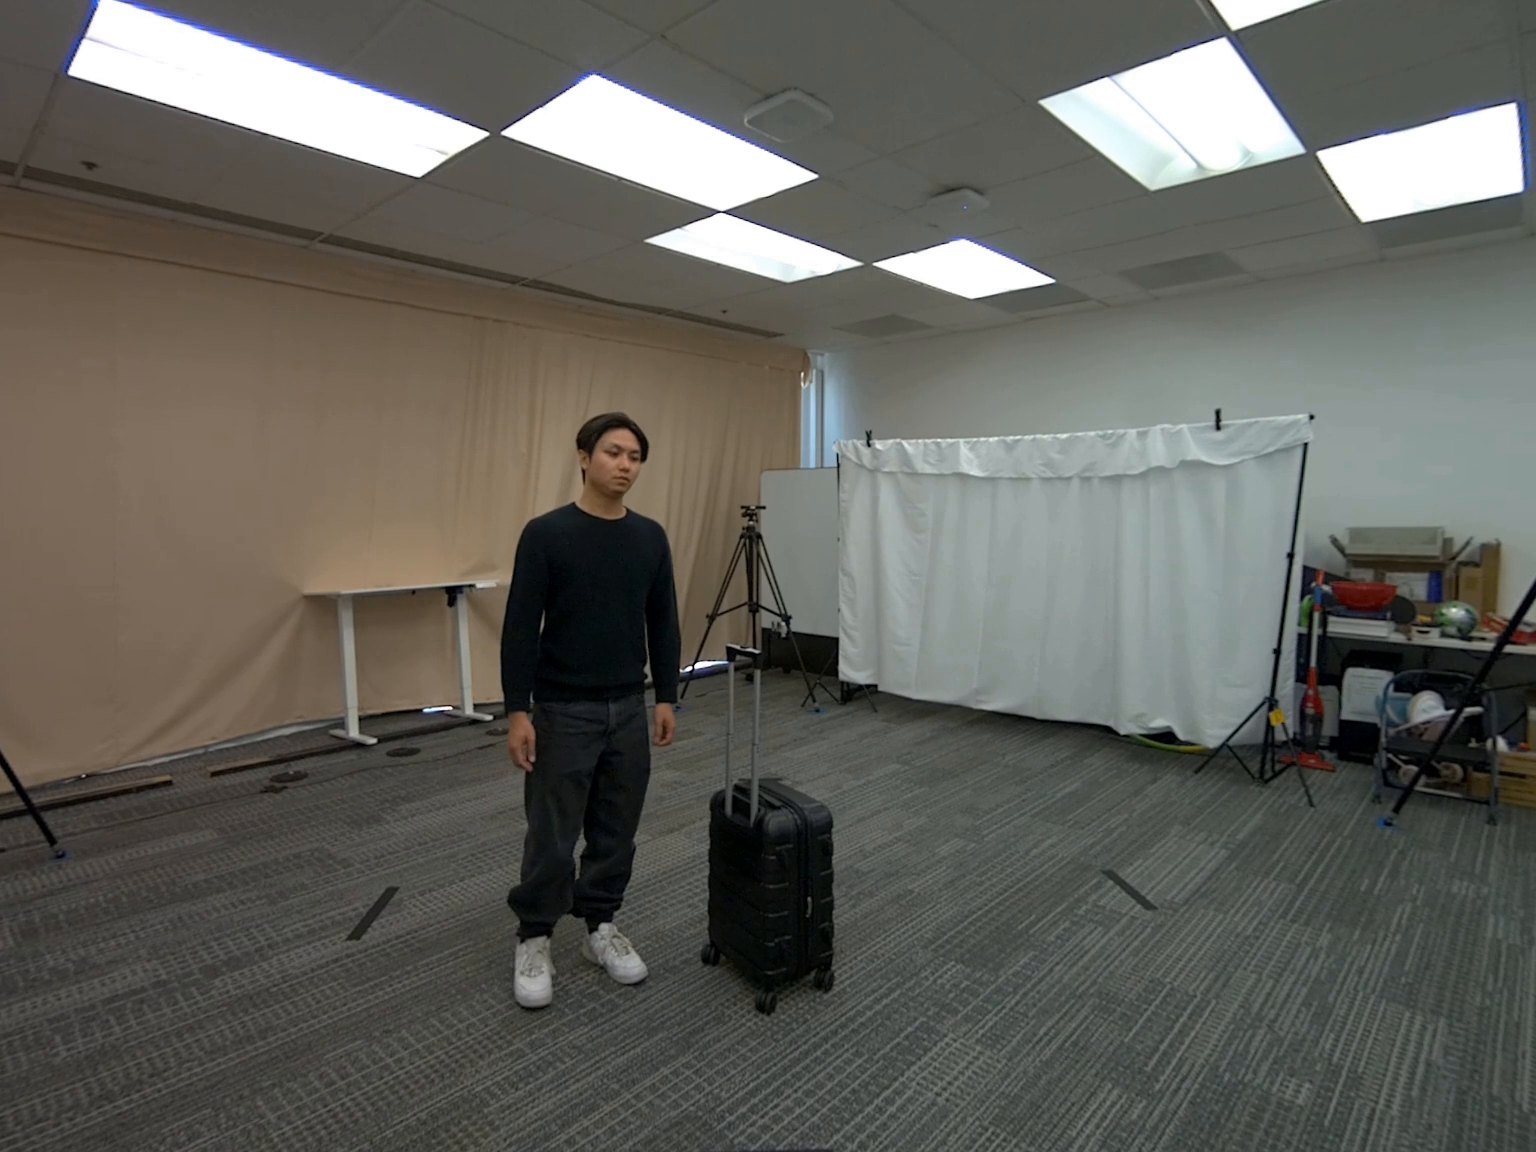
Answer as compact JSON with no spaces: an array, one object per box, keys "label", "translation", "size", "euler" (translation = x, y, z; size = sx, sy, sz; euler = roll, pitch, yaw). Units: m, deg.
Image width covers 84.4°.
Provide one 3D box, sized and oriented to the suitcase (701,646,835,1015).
[{"label":"suitcase","translation":[0.021,0.712,2.495],"size":[0.249,0.978,0.396],"euler":[3,1,-33]}]
